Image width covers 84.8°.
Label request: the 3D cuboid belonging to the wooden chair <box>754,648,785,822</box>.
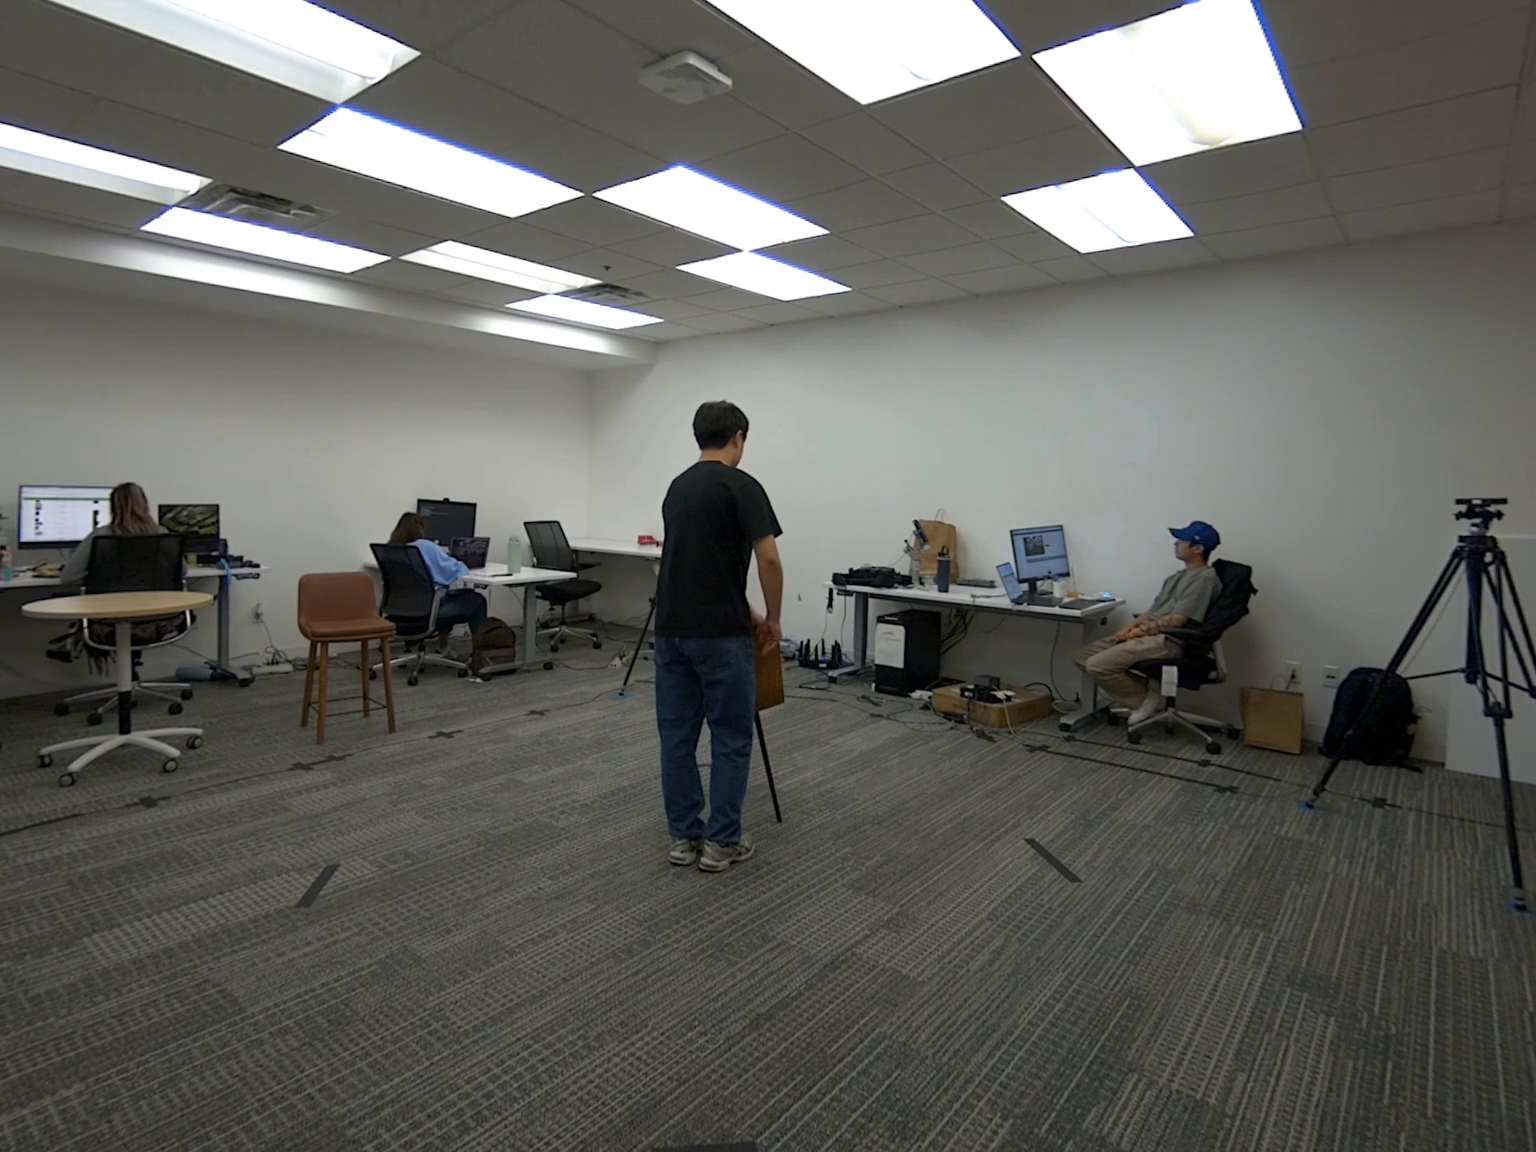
[{"bbox_3d":[-0.192,0.573,3.766,0.477,0.871,0.528,1,8,-2],"label":"wooden chair"}]
